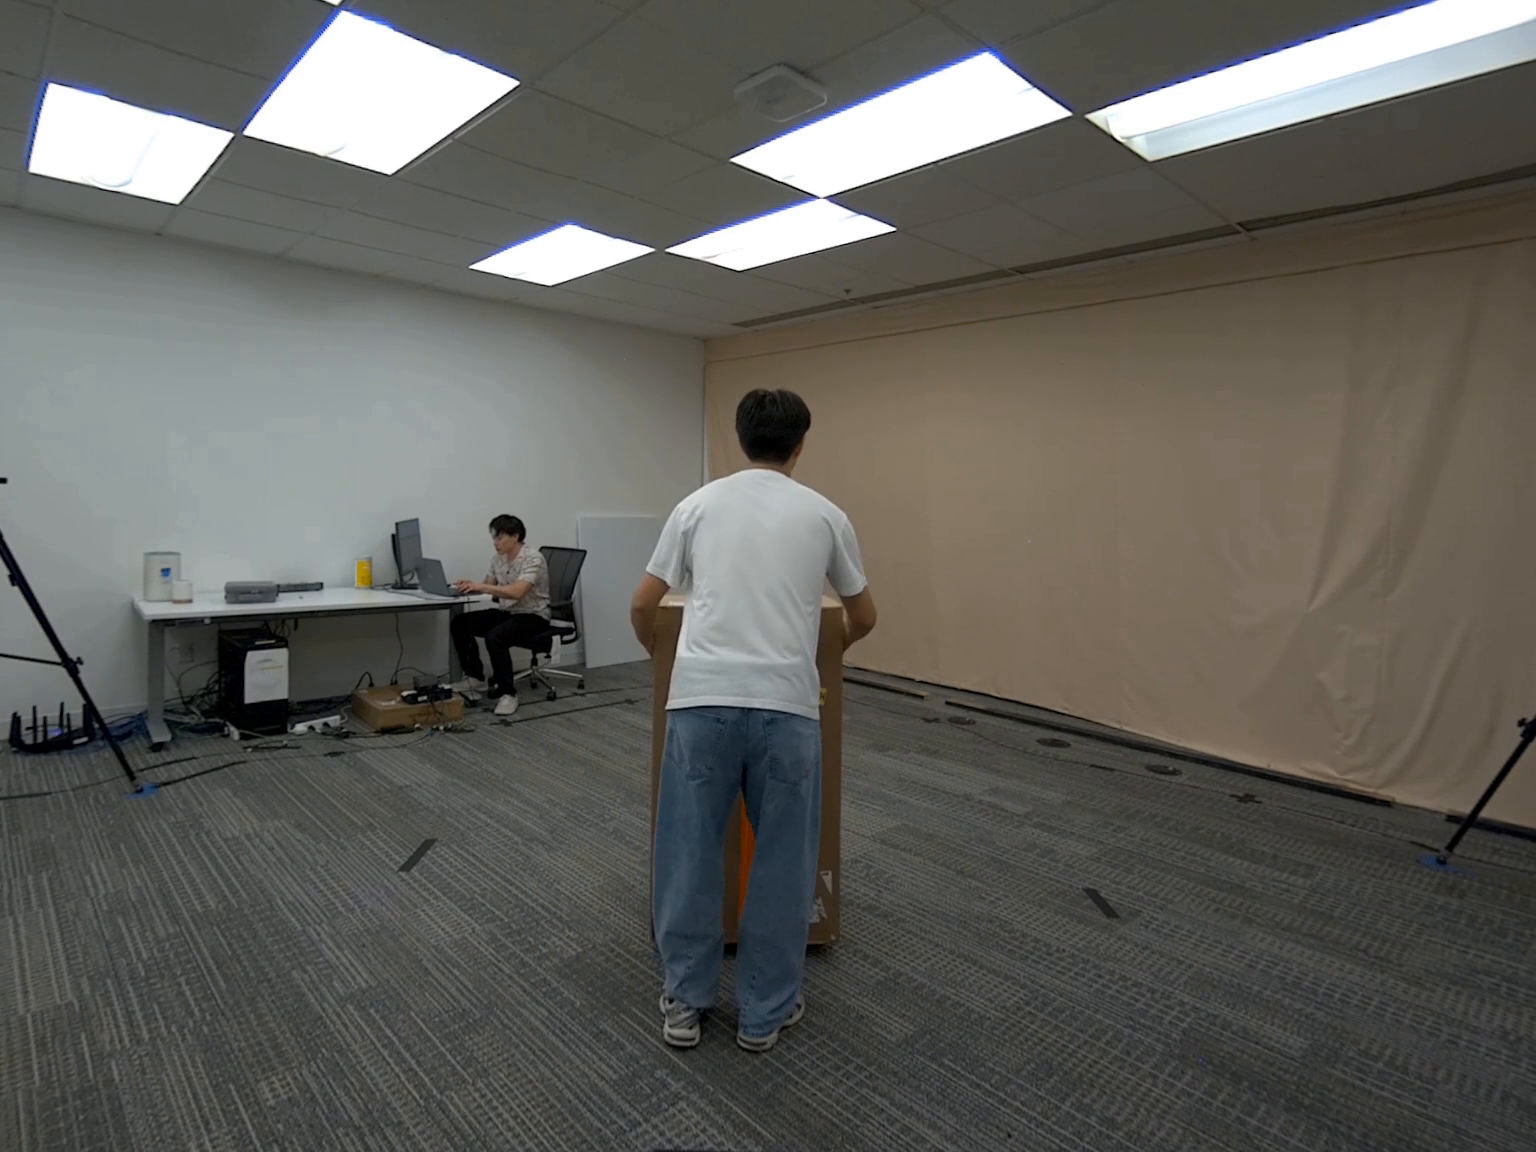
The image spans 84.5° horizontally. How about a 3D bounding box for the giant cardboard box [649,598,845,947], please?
[{"bbox_3d":[-0.081,0.592,2.737,0.577,1.025,0.427,1,2,-2],"label":"giant cardboard box"}]
